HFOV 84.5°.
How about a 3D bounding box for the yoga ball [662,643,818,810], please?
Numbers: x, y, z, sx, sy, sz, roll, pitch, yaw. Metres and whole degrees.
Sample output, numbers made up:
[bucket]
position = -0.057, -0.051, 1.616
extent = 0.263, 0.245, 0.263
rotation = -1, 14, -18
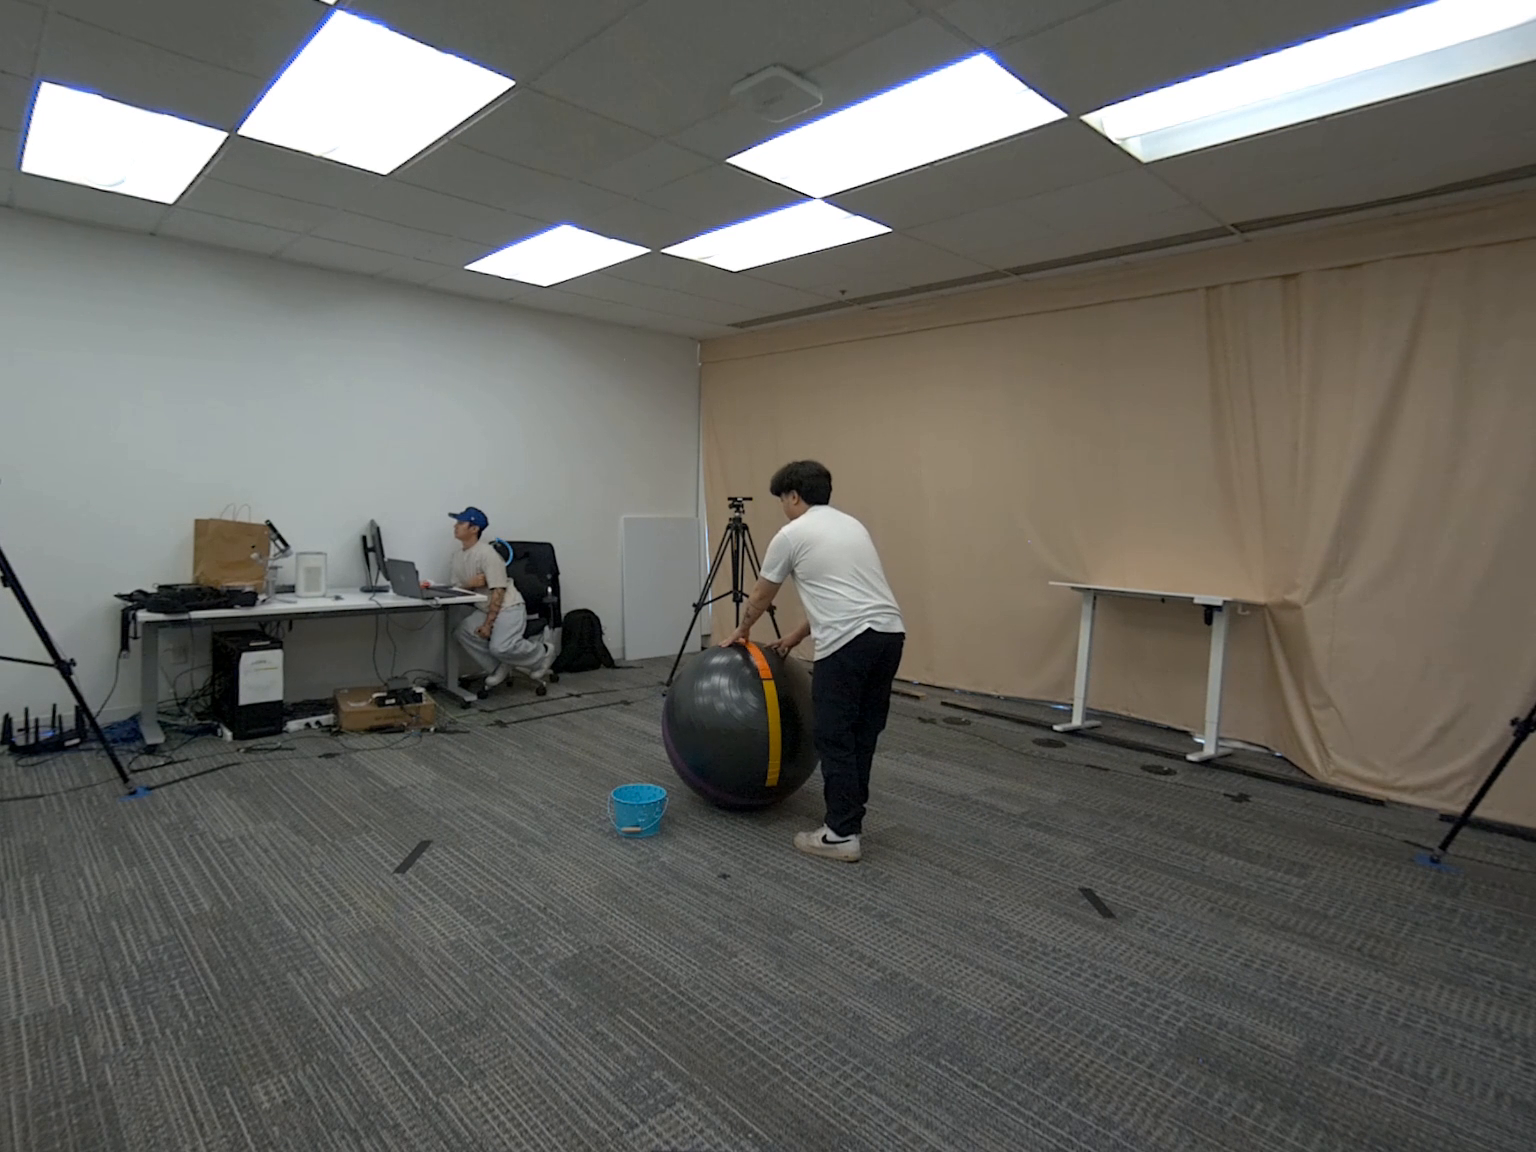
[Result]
[yoga ball]
position = -0.120, 0.687, 3.895
extent = 0.757, 0.756, 0.761
rotation = 1, 4, -1
